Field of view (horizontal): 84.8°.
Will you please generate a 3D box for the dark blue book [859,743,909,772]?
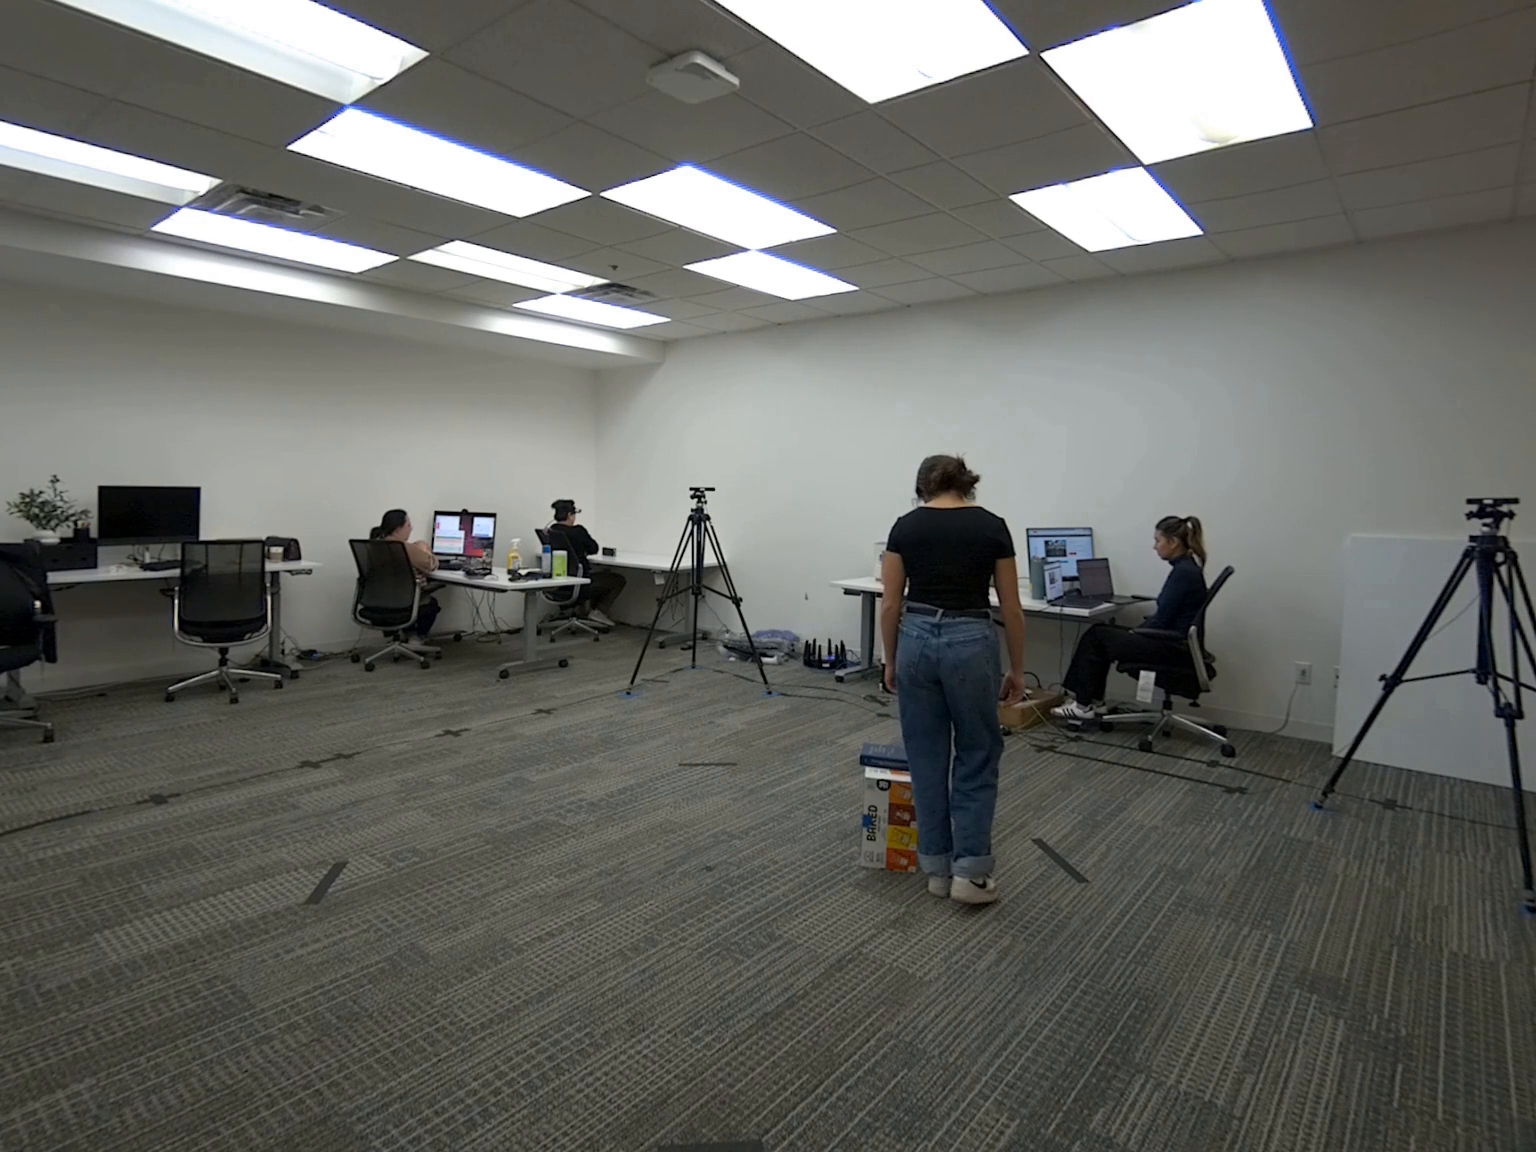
[{"bbox_3d":[0.477,0.702,3.299,0.249,0.045,0.162,4,6,13],"label":"dark blue book"}]
